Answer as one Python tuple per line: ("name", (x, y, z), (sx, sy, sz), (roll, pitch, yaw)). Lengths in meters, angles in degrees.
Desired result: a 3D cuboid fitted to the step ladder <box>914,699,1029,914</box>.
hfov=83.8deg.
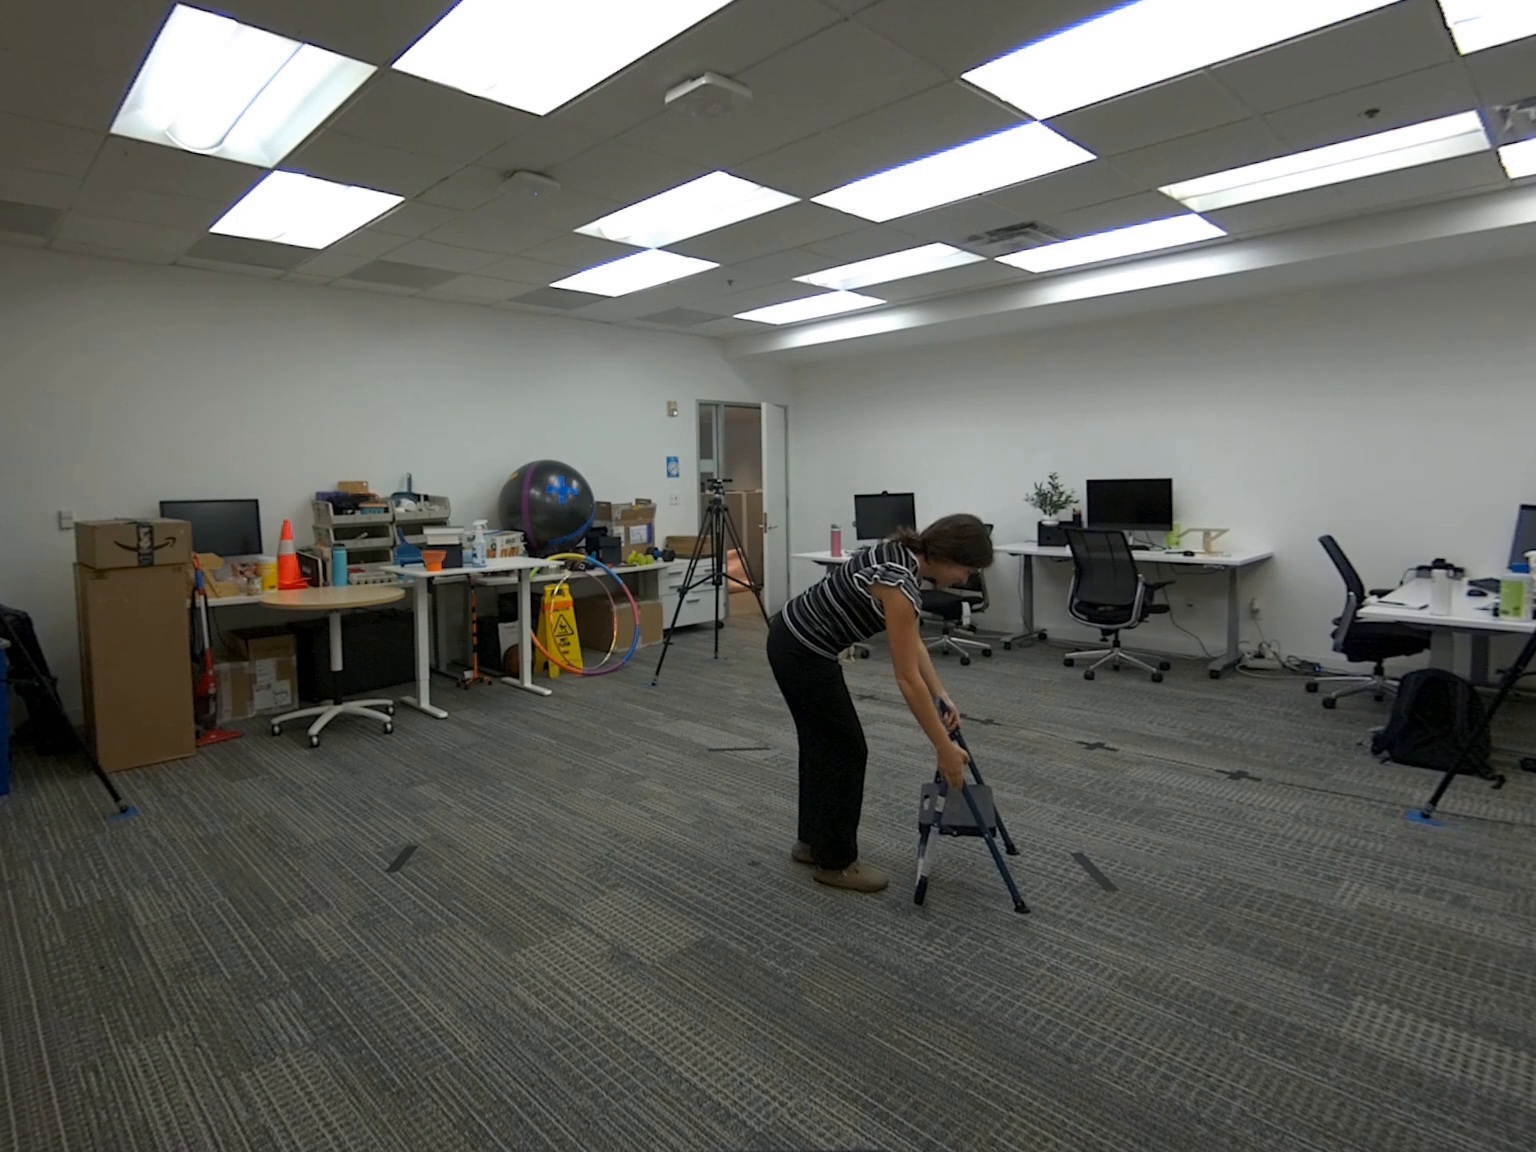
("step ladder", (0.663, 0.722, 2.863), (0.354, 0.603, 0.427), (-2, 5, 13))
